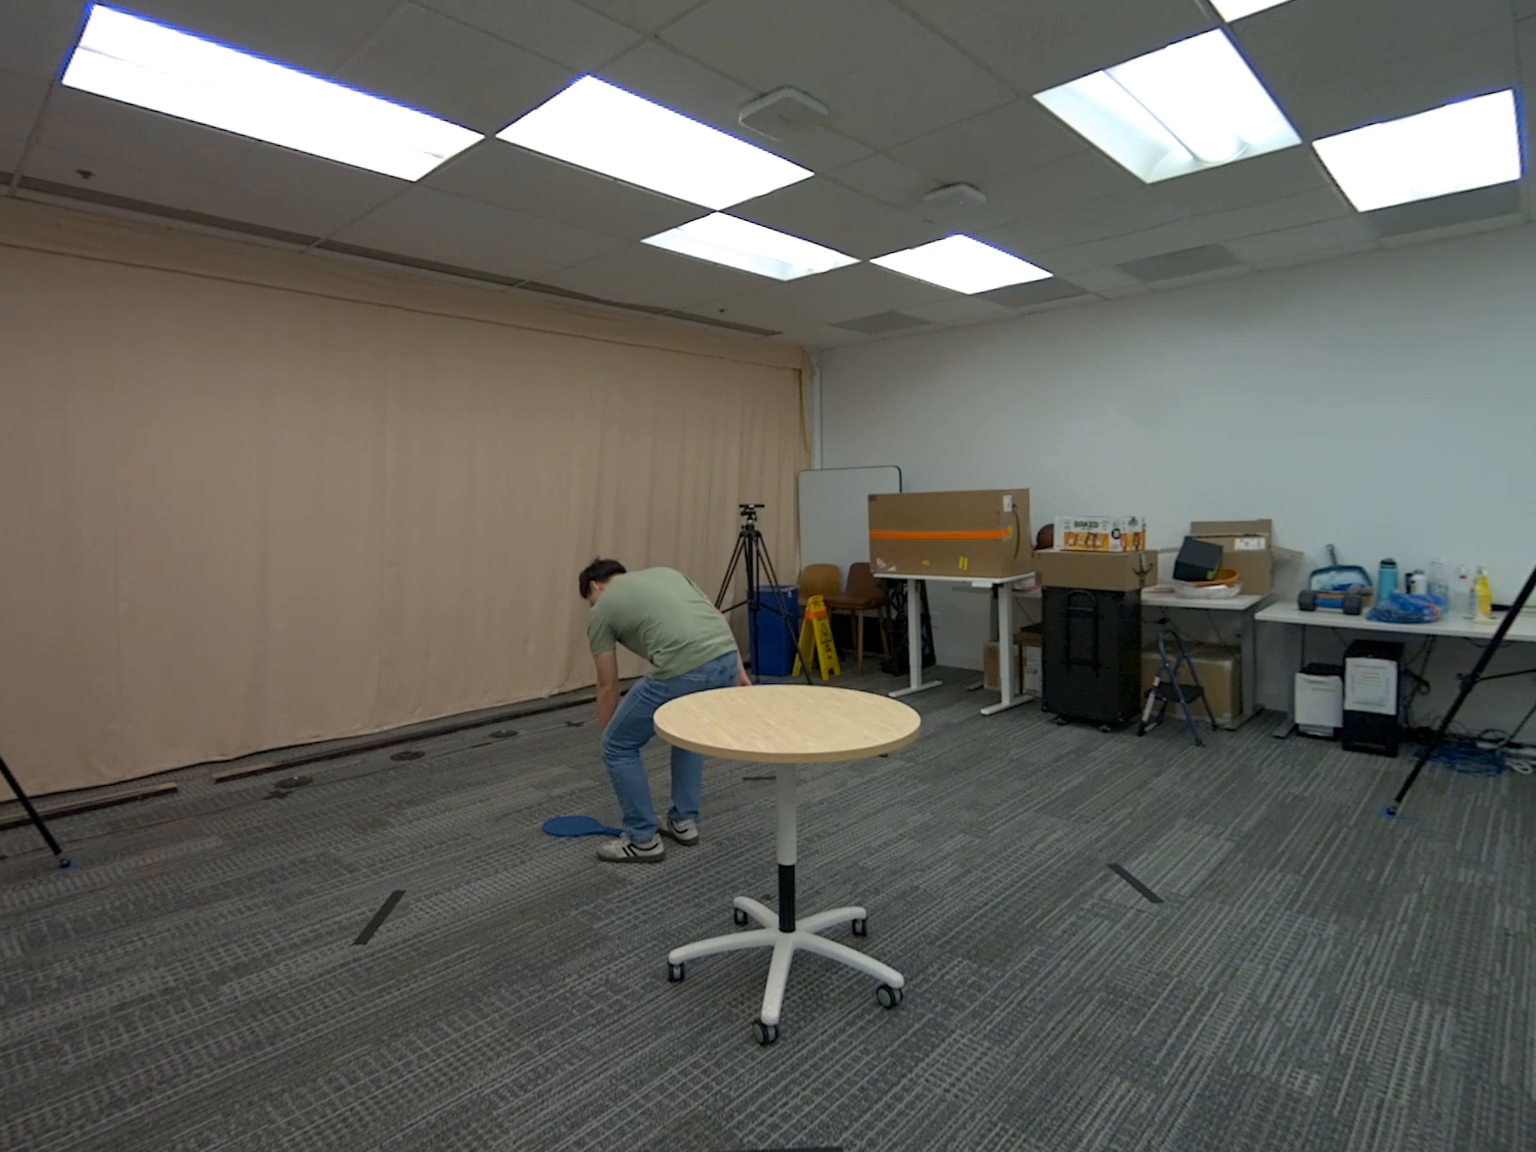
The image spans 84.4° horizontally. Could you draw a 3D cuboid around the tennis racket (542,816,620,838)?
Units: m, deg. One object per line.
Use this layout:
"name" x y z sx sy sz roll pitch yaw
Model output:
"tennis racket" -0.781 1.088 3.633 0.444 0.032 0.208 0 5 28
